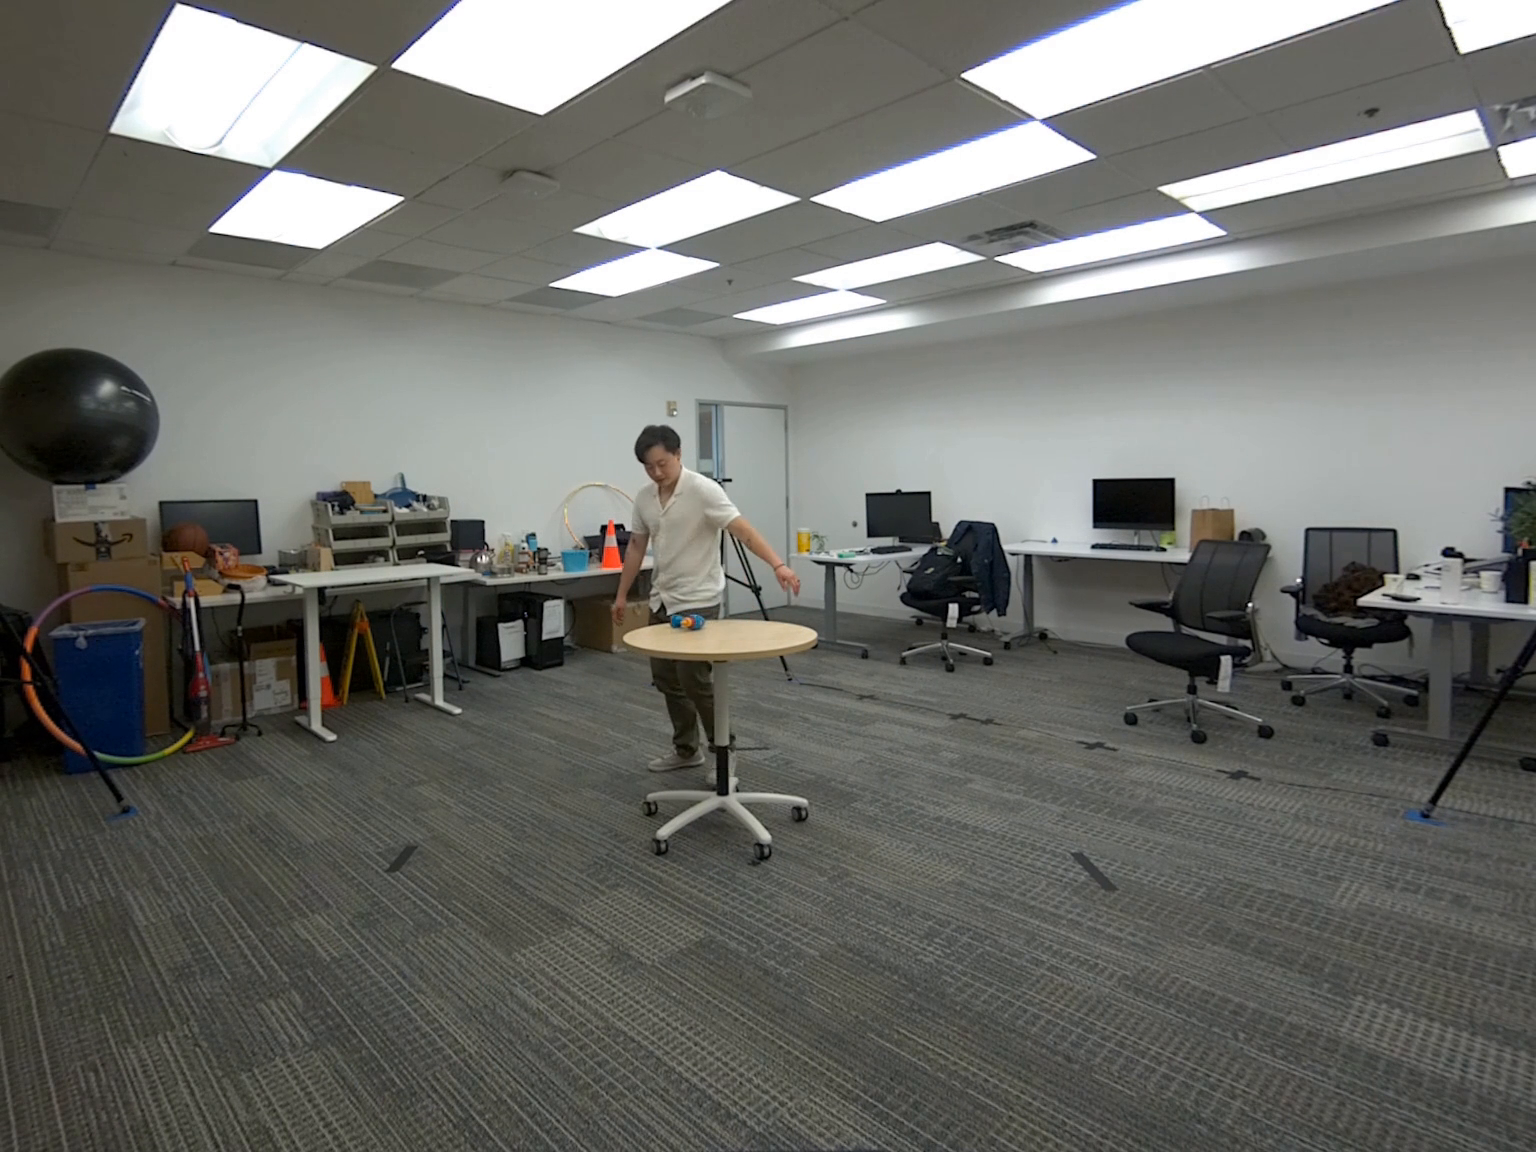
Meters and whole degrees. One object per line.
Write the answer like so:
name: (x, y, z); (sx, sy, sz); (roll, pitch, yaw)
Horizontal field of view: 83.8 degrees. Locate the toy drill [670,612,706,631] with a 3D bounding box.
toy drill: (-0.353, 0.193, 3.528); (0.149, 0.061, 0.165); (0, 0, 27)
